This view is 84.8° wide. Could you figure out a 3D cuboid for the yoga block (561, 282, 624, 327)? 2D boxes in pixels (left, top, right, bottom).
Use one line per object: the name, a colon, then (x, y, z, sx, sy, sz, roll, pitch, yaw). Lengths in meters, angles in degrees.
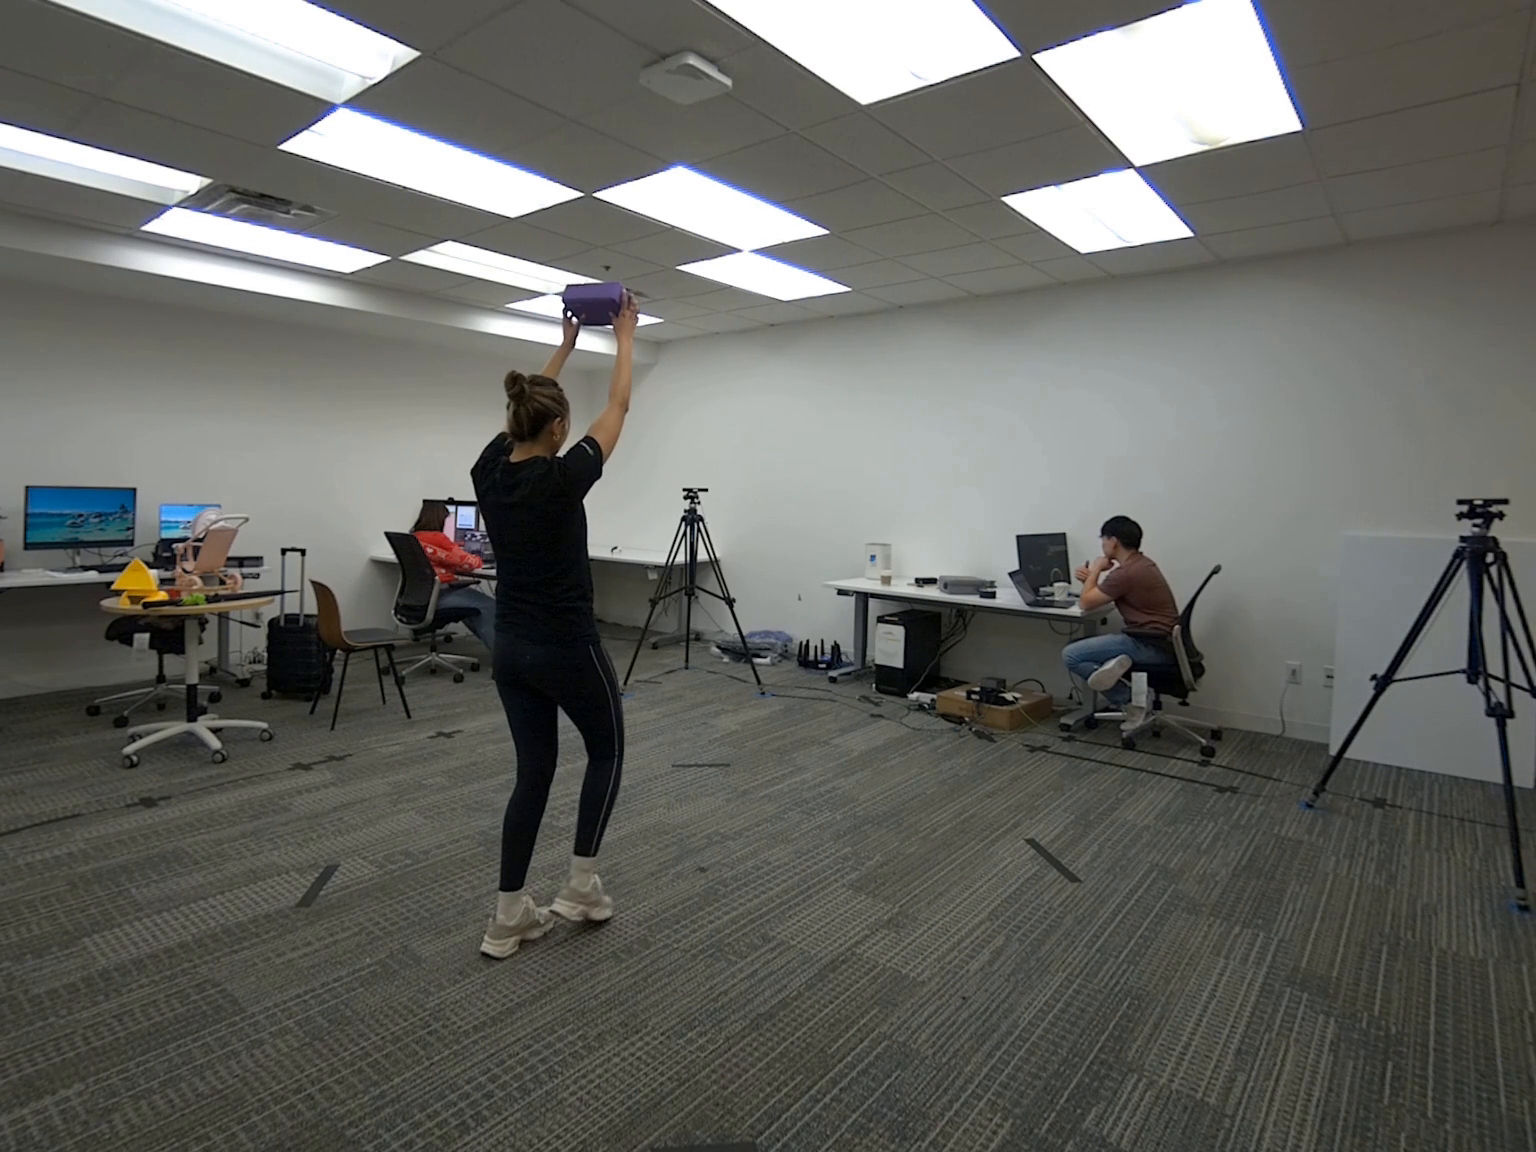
yoga block: (-0.568, -0.907, 2.841, 0.236, 0.077, 0.143, 9, -20, 29)
